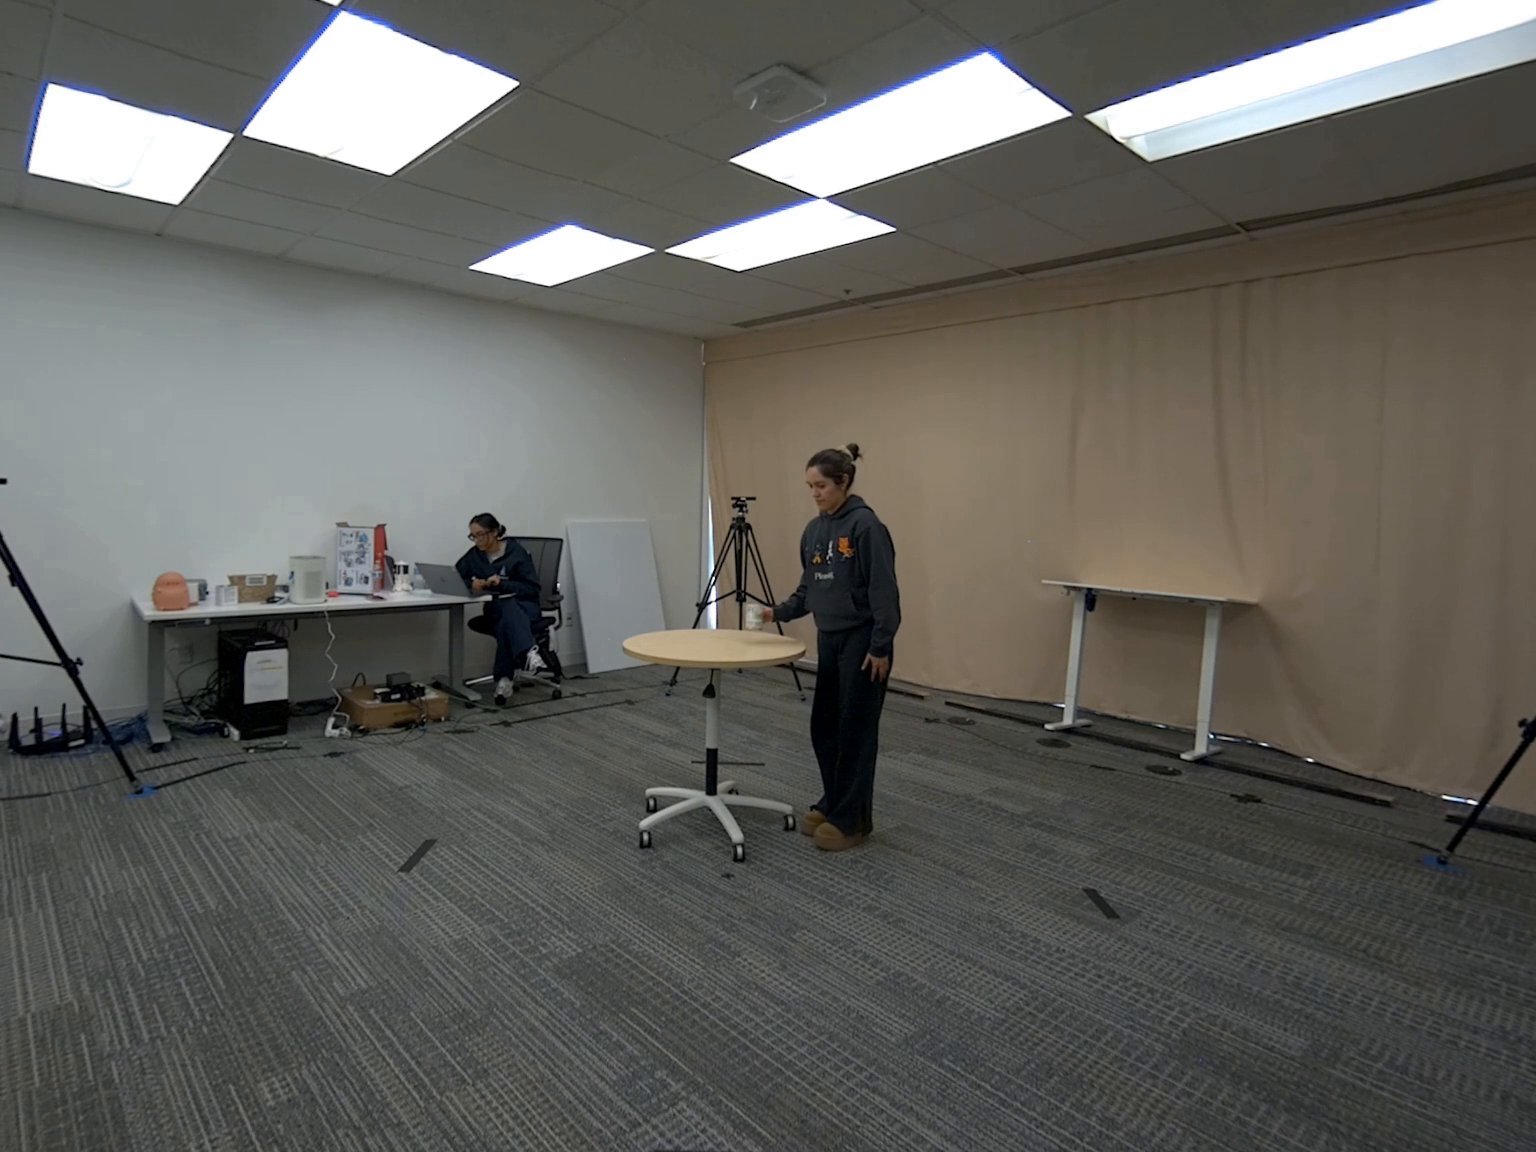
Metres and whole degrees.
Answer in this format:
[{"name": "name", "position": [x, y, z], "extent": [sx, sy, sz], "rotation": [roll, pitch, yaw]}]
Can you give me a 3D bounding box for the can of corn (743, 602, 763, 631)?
[{"name": "can of corn", "position": [-0.065, 0.170, 3.584], "extent": [0.074, 0.111, 0.074], "rotation": [1, -4, -1]}]
